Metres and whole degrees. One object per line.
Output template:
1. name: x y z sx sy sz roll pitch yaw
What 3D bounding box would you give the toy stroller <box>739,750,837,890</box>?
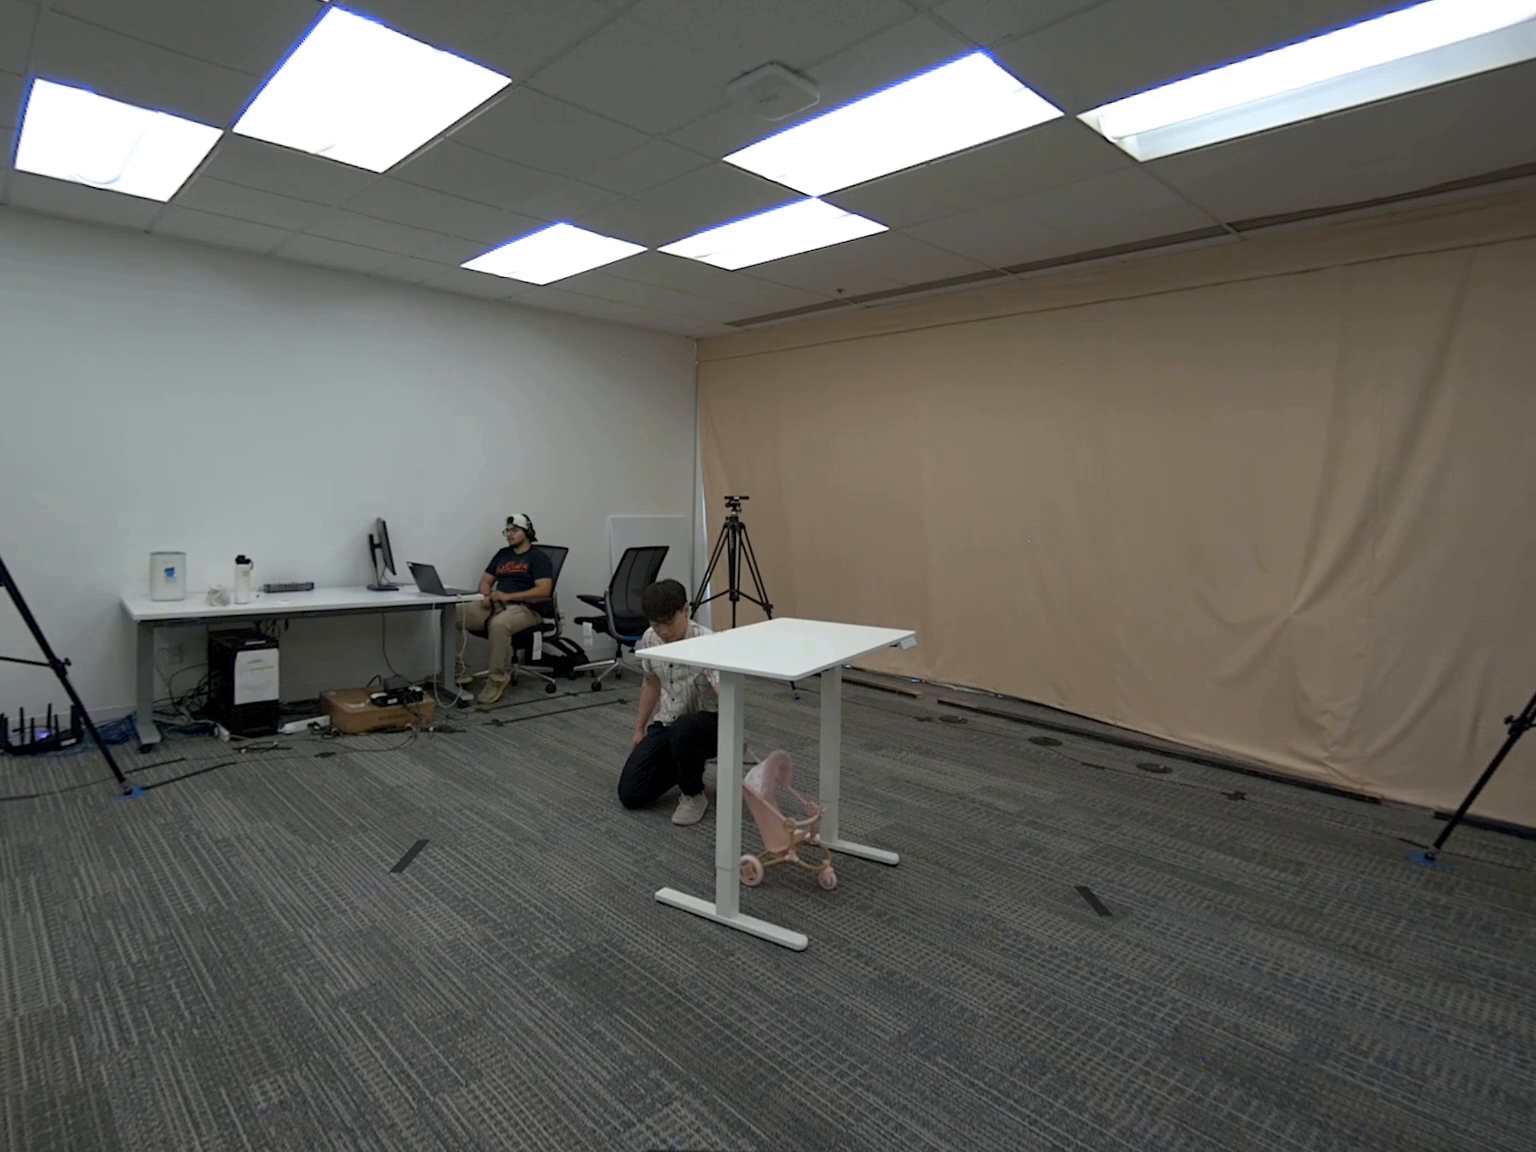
1. toy stroller: 0.032 0.880 3.091 0.346 0.538 0.276 -16 -6 33
